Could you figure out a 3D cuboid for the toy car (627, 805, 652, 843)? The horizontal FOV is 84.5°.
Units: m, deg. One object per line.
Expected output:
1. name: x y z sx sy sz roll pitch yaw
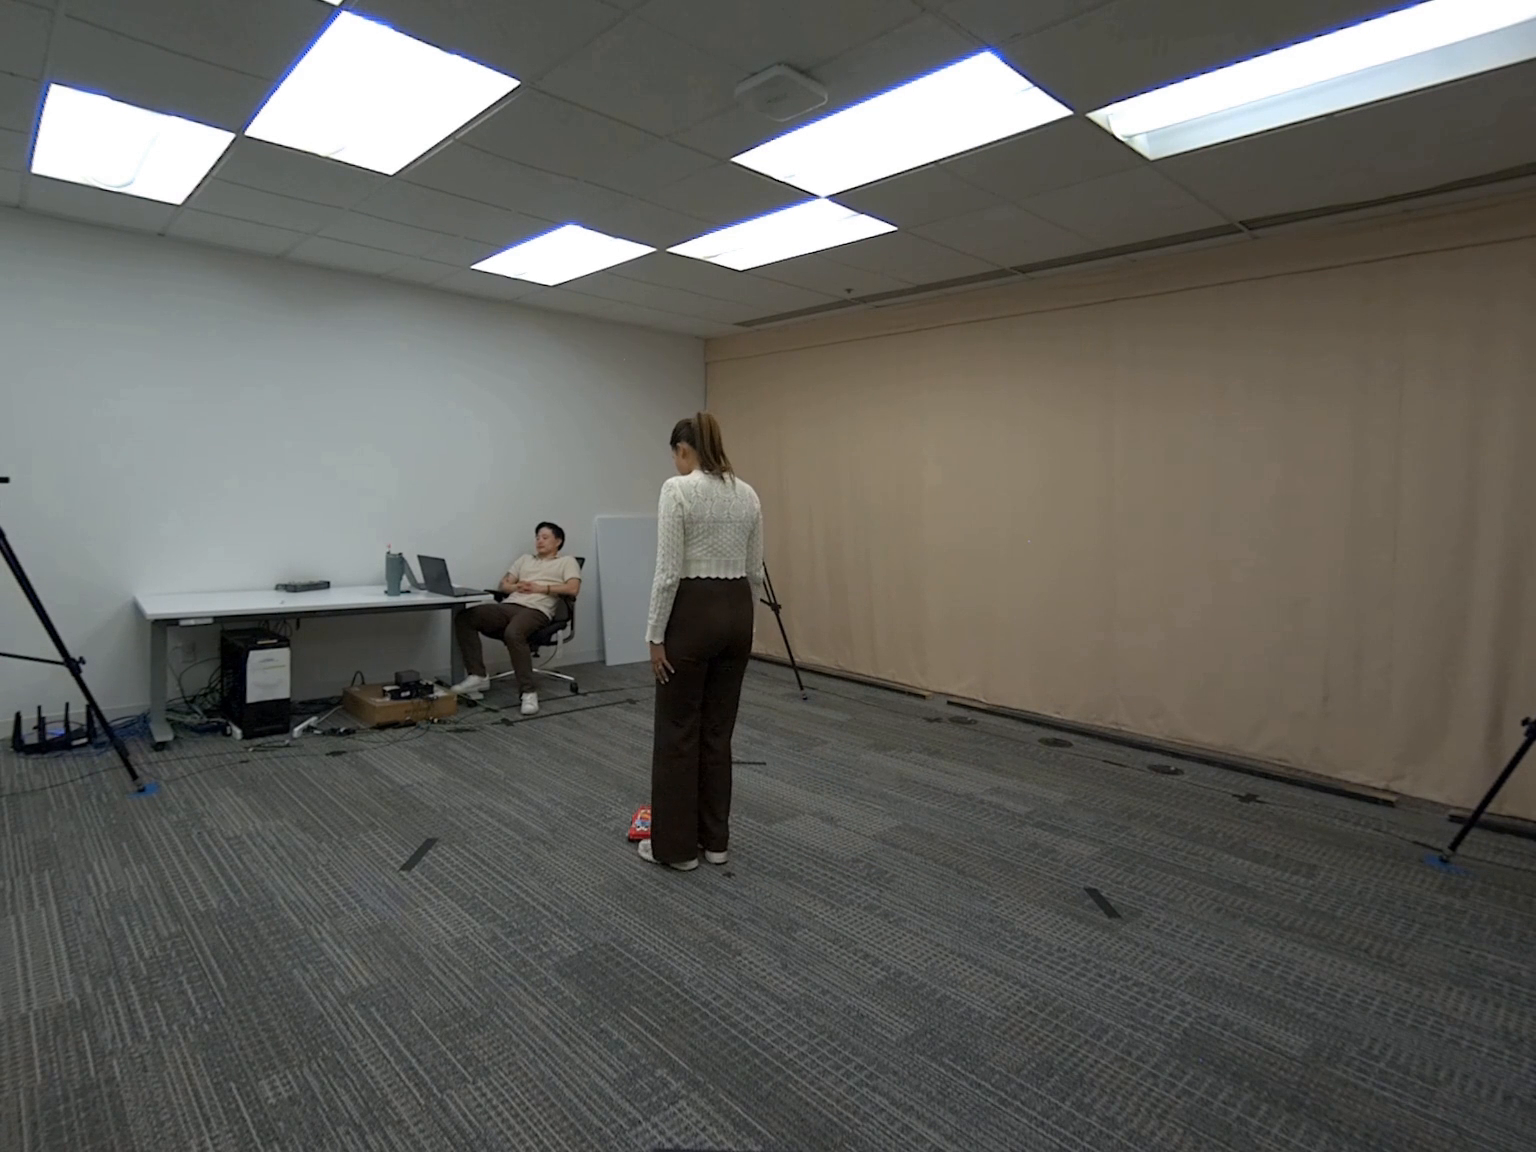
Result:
1. toy car: -0.516 1.026 3.480 0.130 0.082 0.257 1 16 -2
